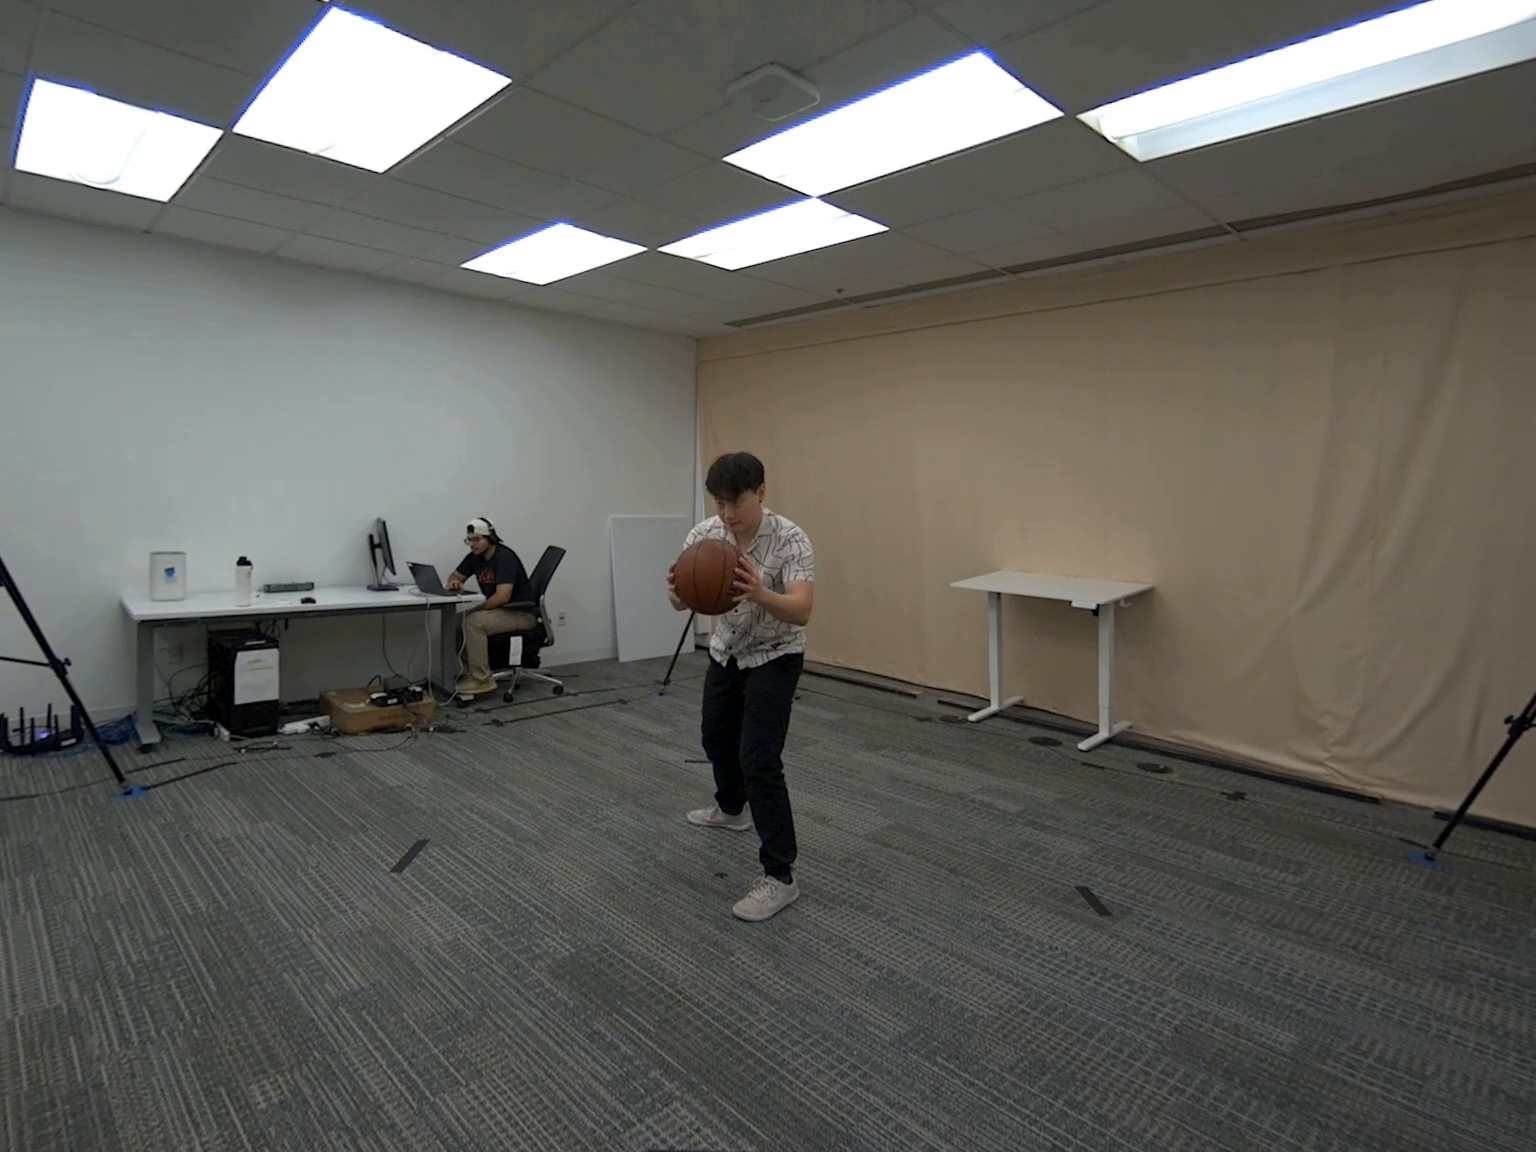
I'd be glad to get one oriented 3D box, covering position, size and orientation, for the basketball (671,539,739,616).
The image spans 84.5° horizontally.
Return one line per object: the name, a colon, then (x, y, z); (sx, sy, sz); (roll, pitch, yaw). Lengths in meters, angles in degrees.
basketball: (-0.184, 0.012, 2.607); (0.236, 0.235, 0.237); (1, 4, -1)
